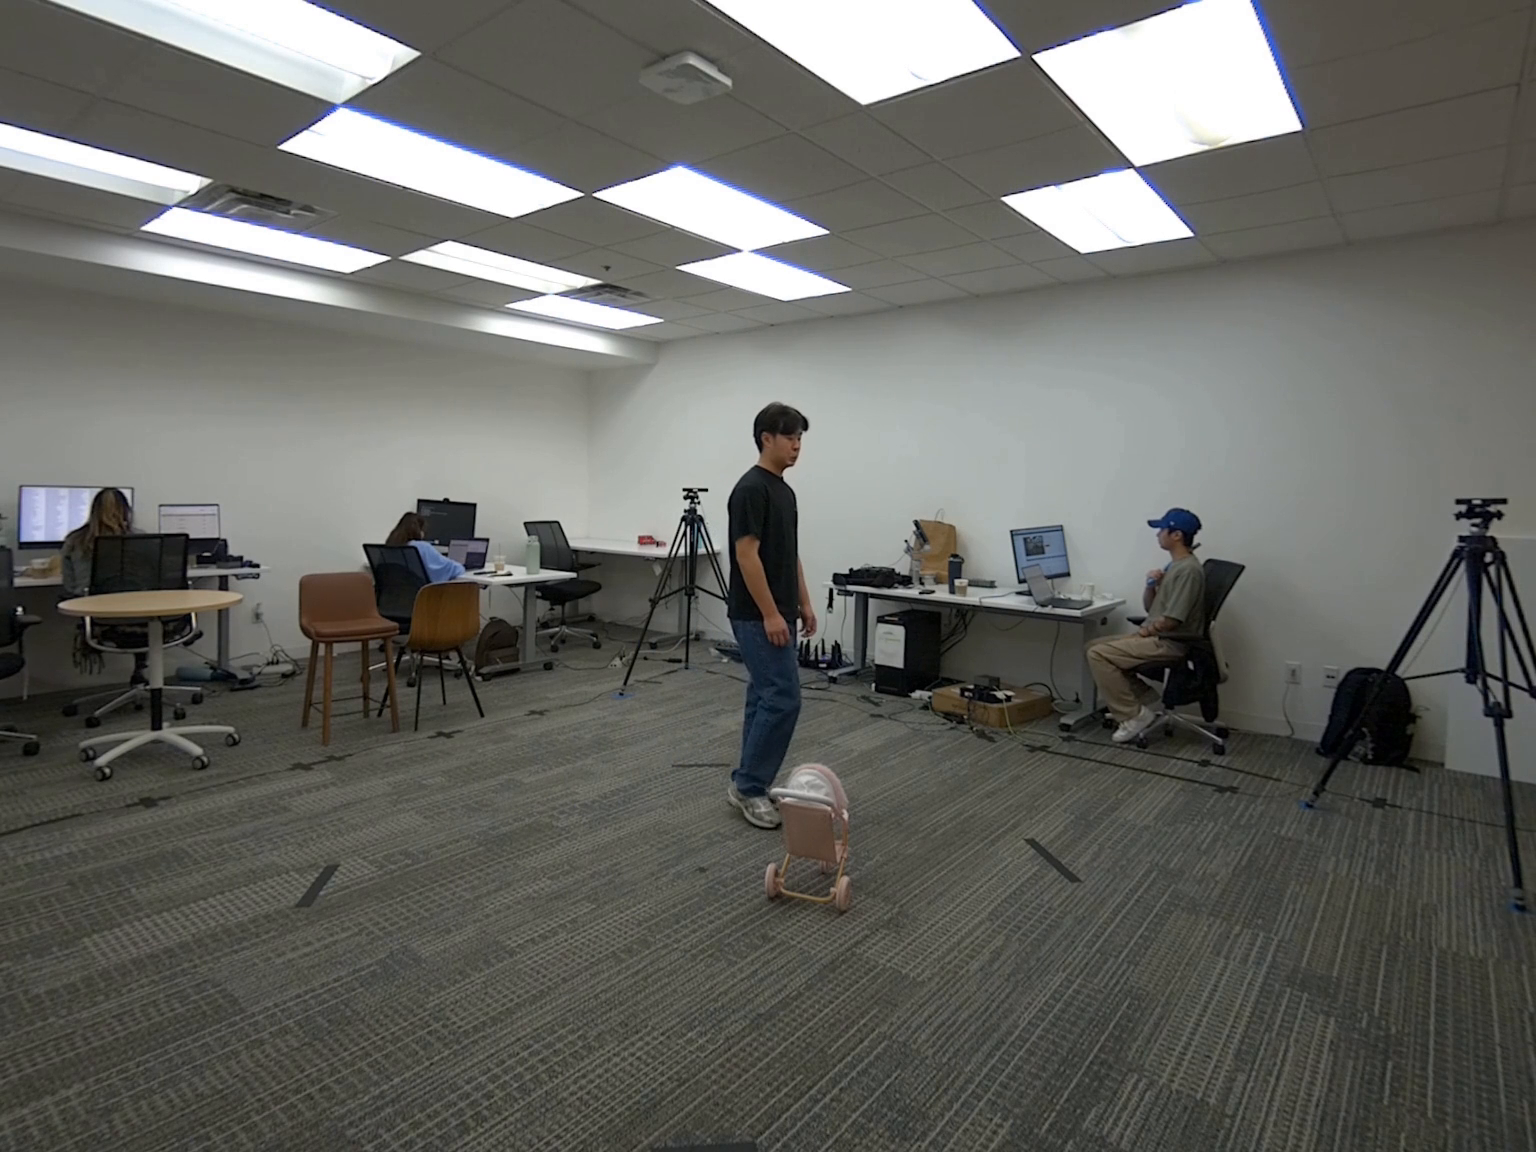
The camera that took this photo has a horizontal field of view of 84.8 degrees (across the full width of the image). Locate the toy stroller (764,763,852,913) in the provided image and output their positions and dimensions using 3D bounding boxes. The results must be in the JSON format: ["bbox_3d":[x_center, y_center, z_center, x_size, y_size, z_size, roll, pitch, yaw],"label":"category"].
[{"bbox_3d":[0.154,0.872,2.922,0.288,0.525,0.340,3,20,22],"label":"toy stroller"}]
